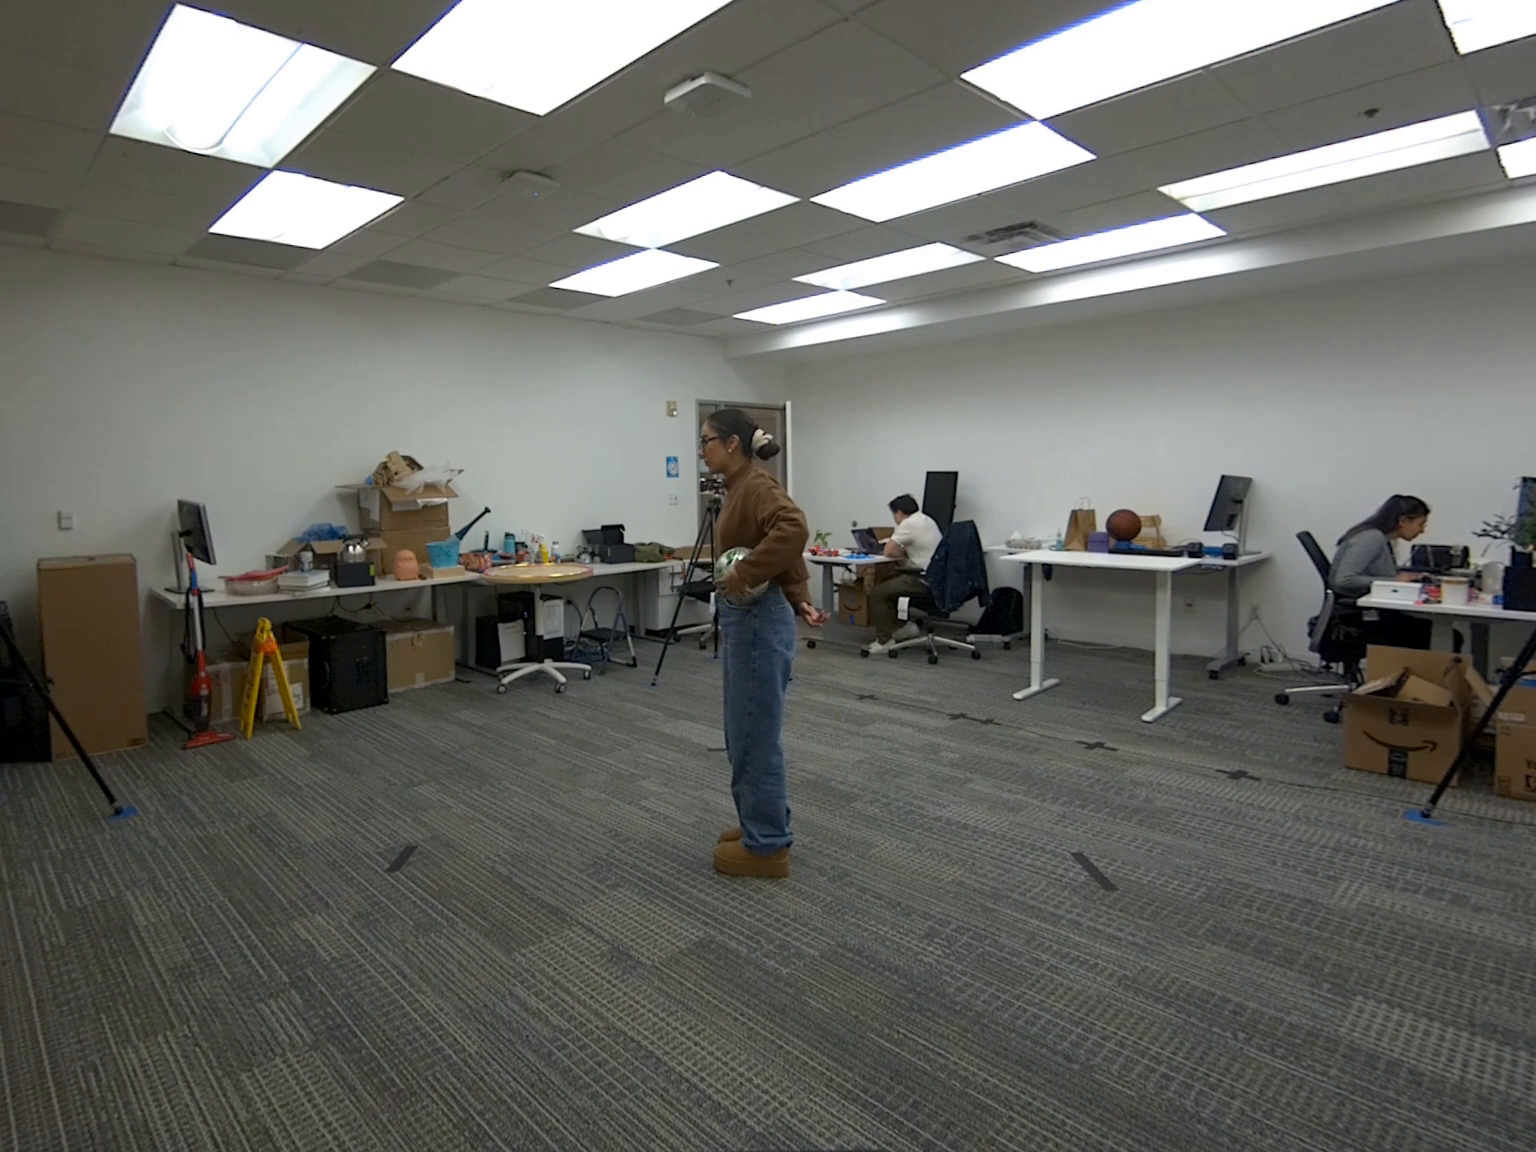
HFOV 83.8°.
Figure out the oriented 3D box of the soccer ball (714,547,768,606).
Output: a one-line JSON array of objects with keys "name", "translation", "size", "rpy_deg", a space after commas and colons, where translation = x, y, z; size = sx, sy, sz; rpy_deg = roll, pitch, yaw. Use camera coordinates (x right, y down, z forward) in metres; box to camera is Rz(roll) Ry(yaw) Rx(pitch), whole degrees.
[{"name": "soccer ball", "translation": [-0.096, 0.000, 2.854], "size": [0.187, 0.187, 0.188], "rpy_deg": [-1, 5, -2]}]
